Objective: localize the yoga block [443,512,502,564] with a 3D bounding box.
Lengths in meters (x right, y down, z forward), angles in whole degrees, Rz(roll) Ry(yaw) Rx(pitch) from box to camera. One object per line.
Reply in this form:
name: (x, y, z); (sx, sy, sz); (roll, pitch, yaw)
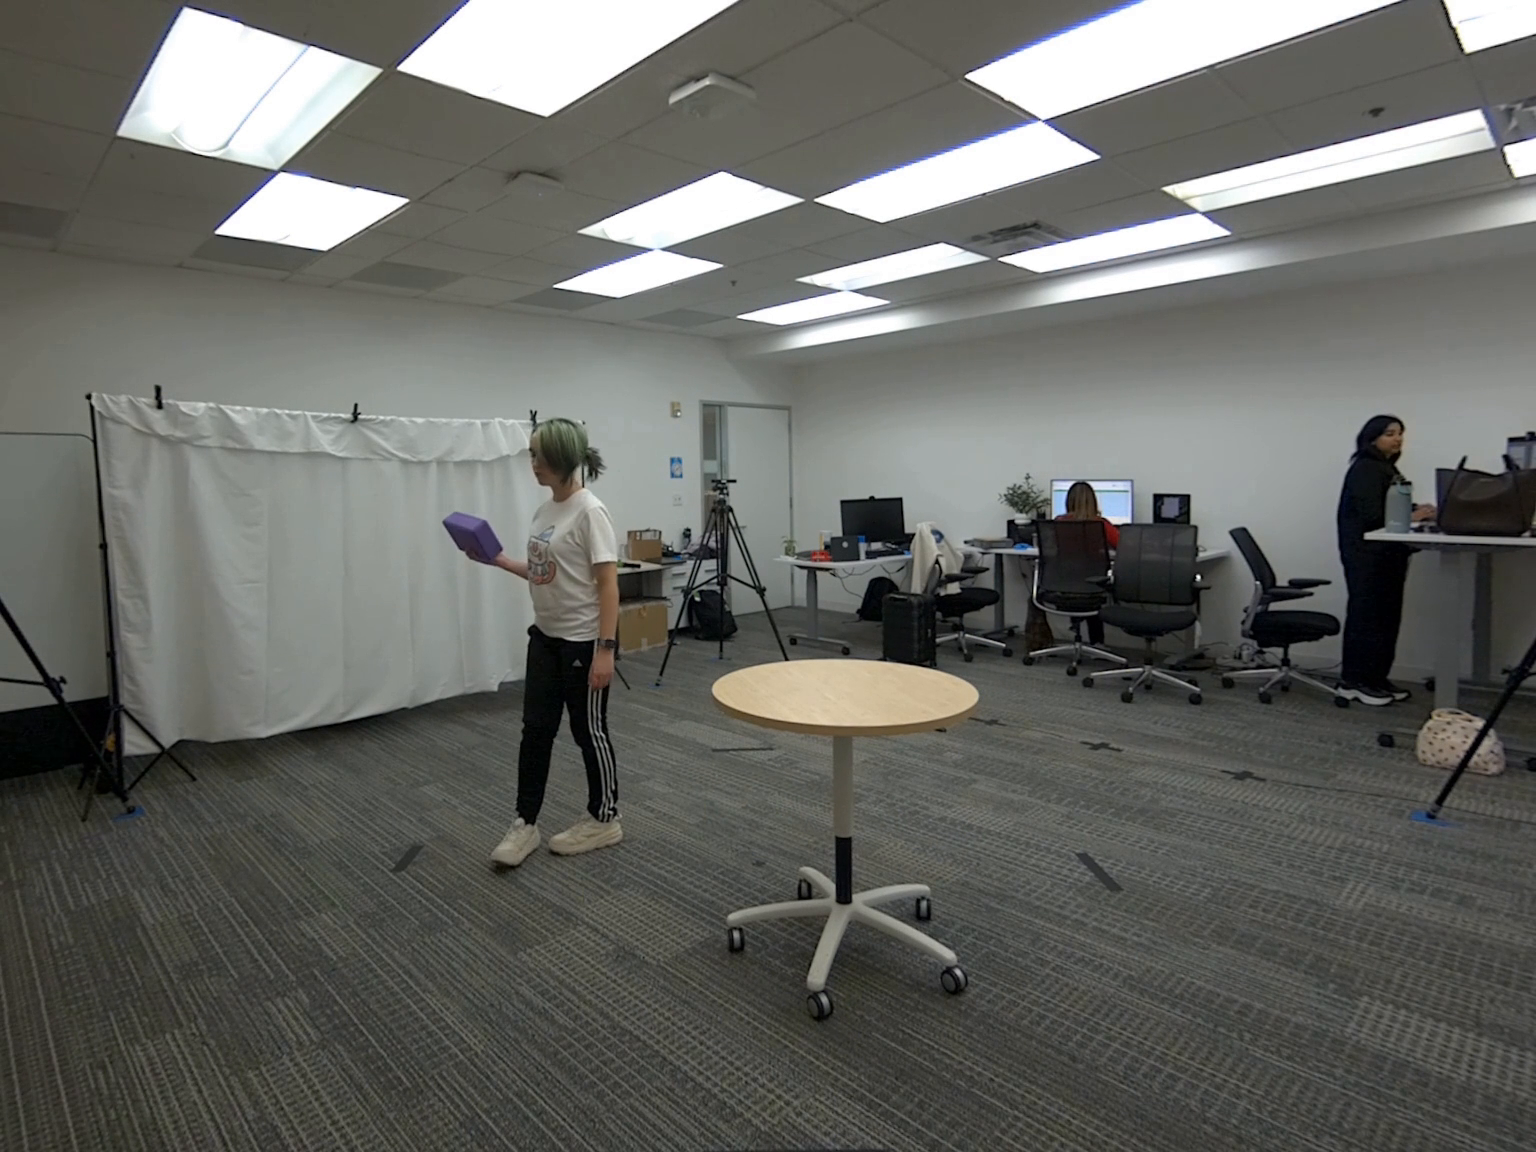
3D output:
yoga block: (-1.111, -0.158, 3.232); (0.237, 0.144, 0.076); (15, 48, 41)
